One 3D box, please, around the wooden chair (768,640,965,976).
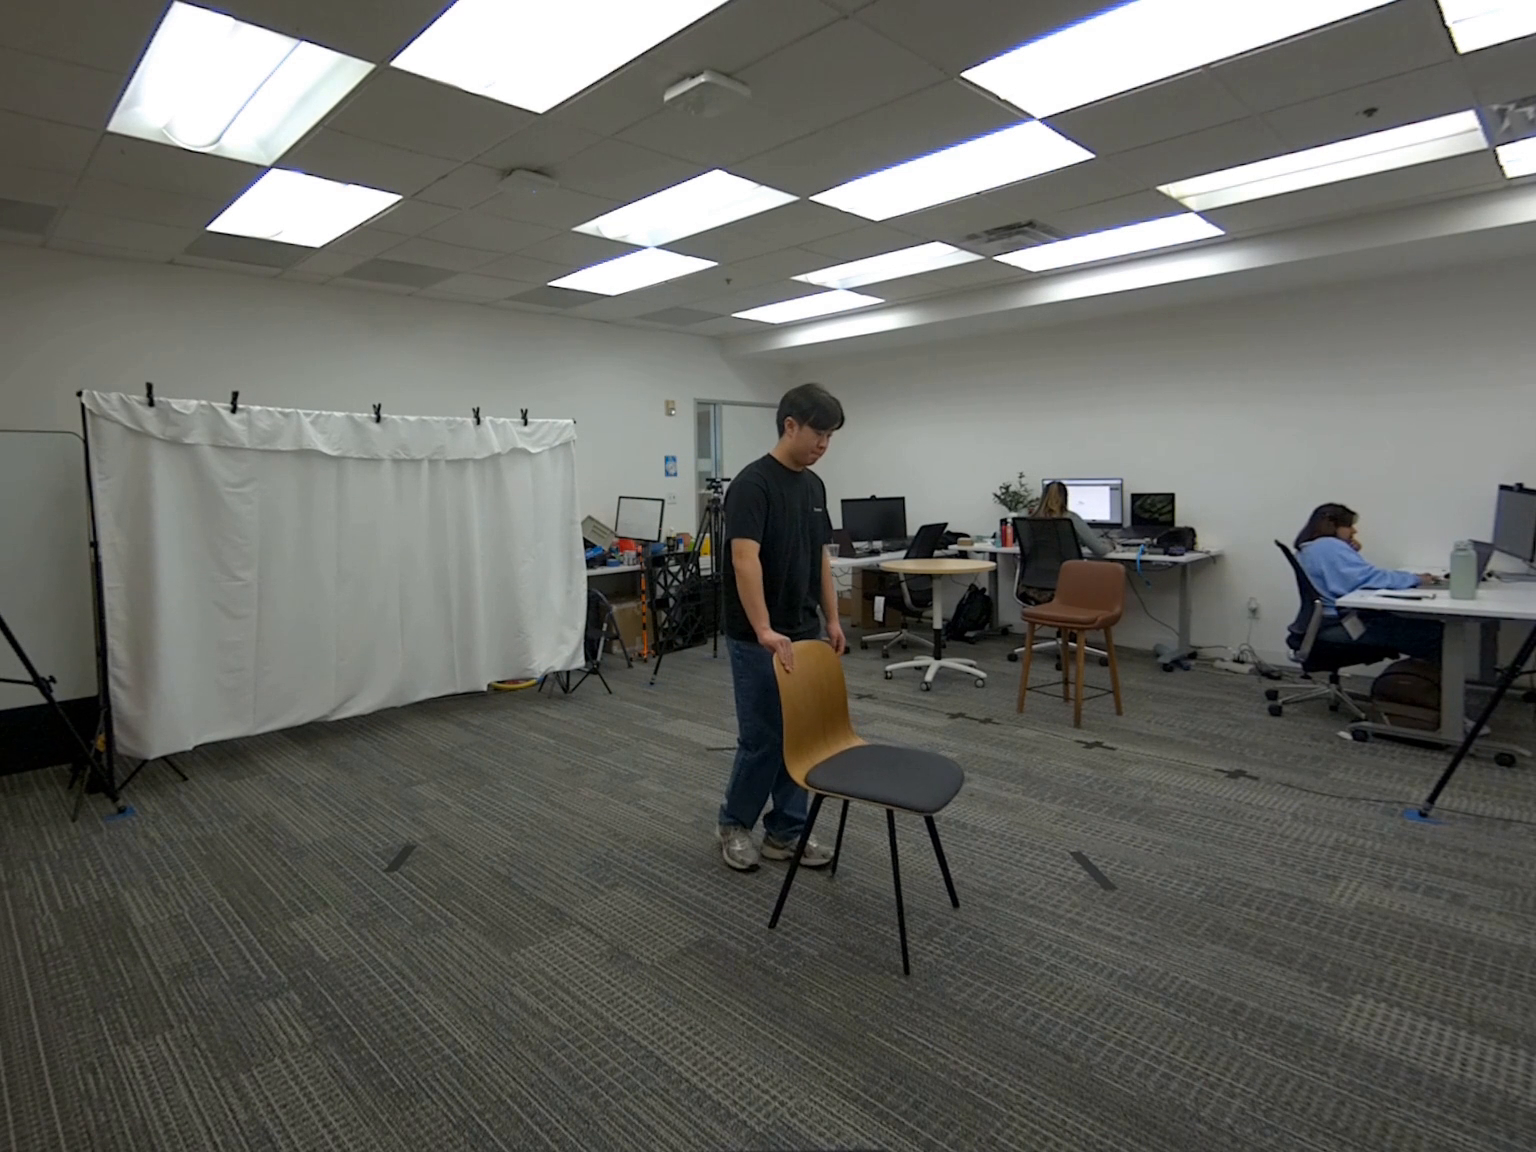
[{"bbox_3d":[0.319,0.658,2.661,0.536,0.876,0.467,-2,2,32],"label":"wooden chair"}]
